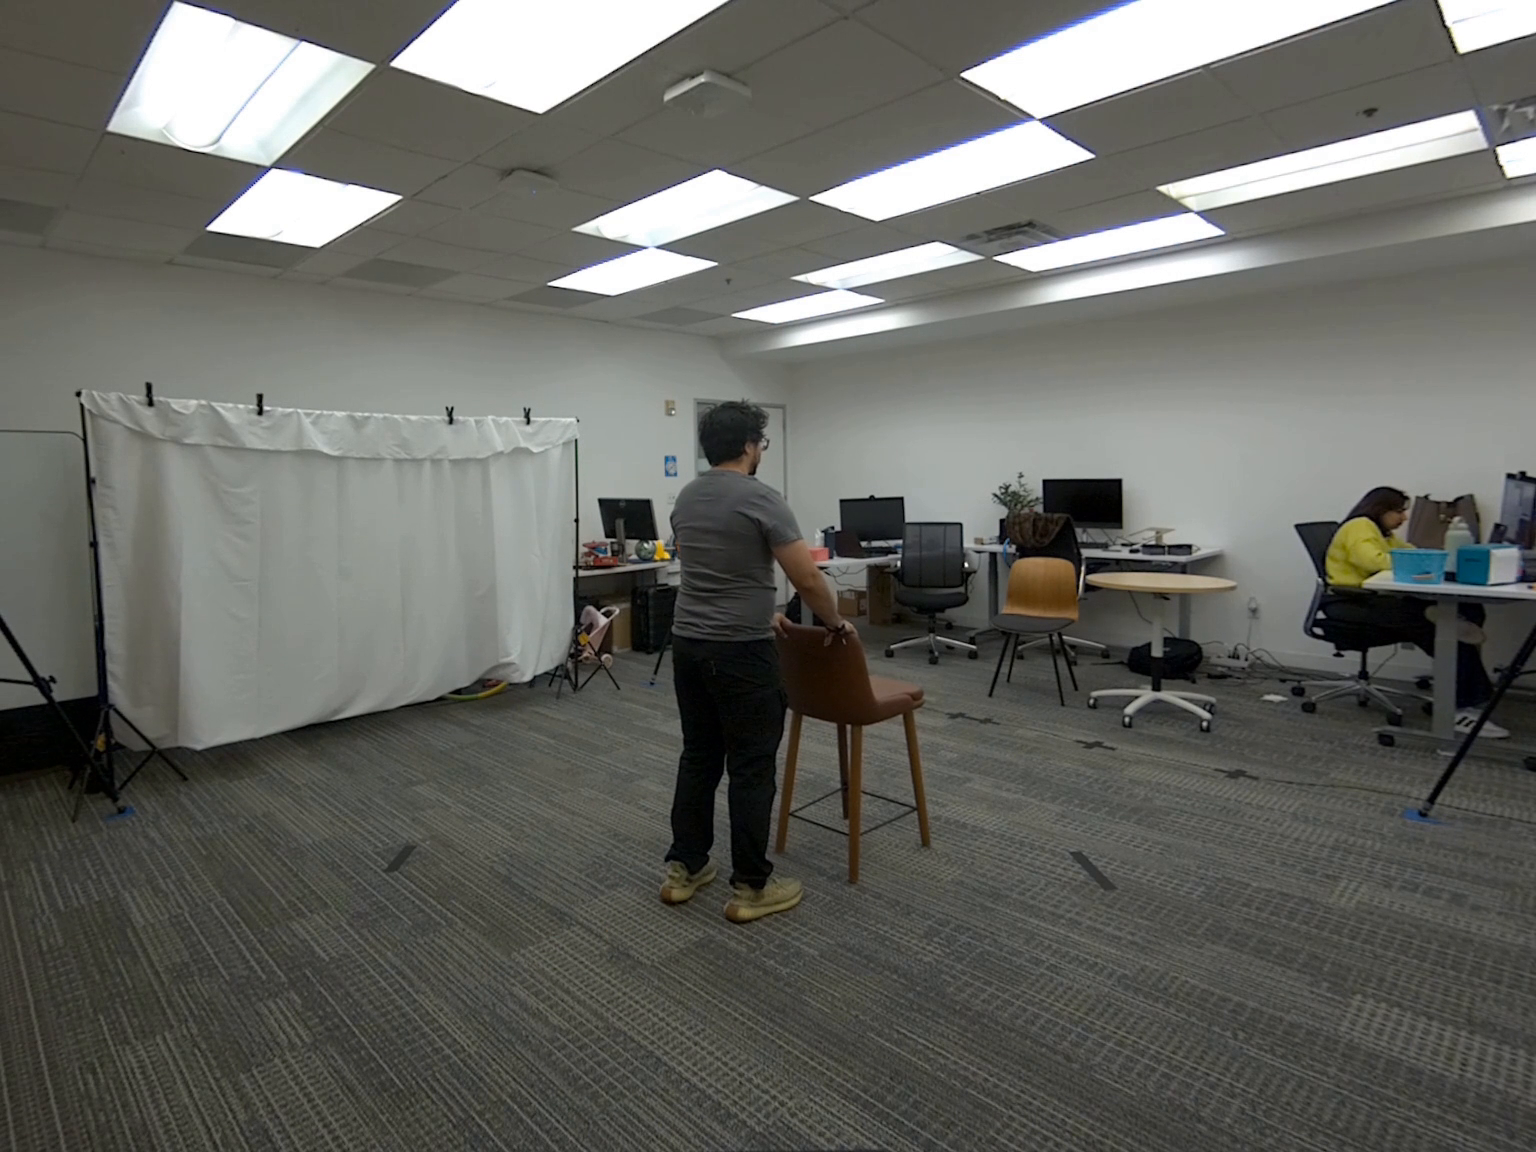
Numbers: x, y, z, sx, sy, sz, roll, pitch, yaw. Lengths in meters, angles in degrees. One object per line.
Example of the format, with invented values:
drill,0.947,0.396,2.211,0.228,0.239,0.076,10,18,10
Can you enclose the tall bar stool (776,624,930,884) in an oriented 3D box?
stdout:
tall bar stool,0.298,0.588,3.189,0.456,0.886,0.470,-7,7,-44
